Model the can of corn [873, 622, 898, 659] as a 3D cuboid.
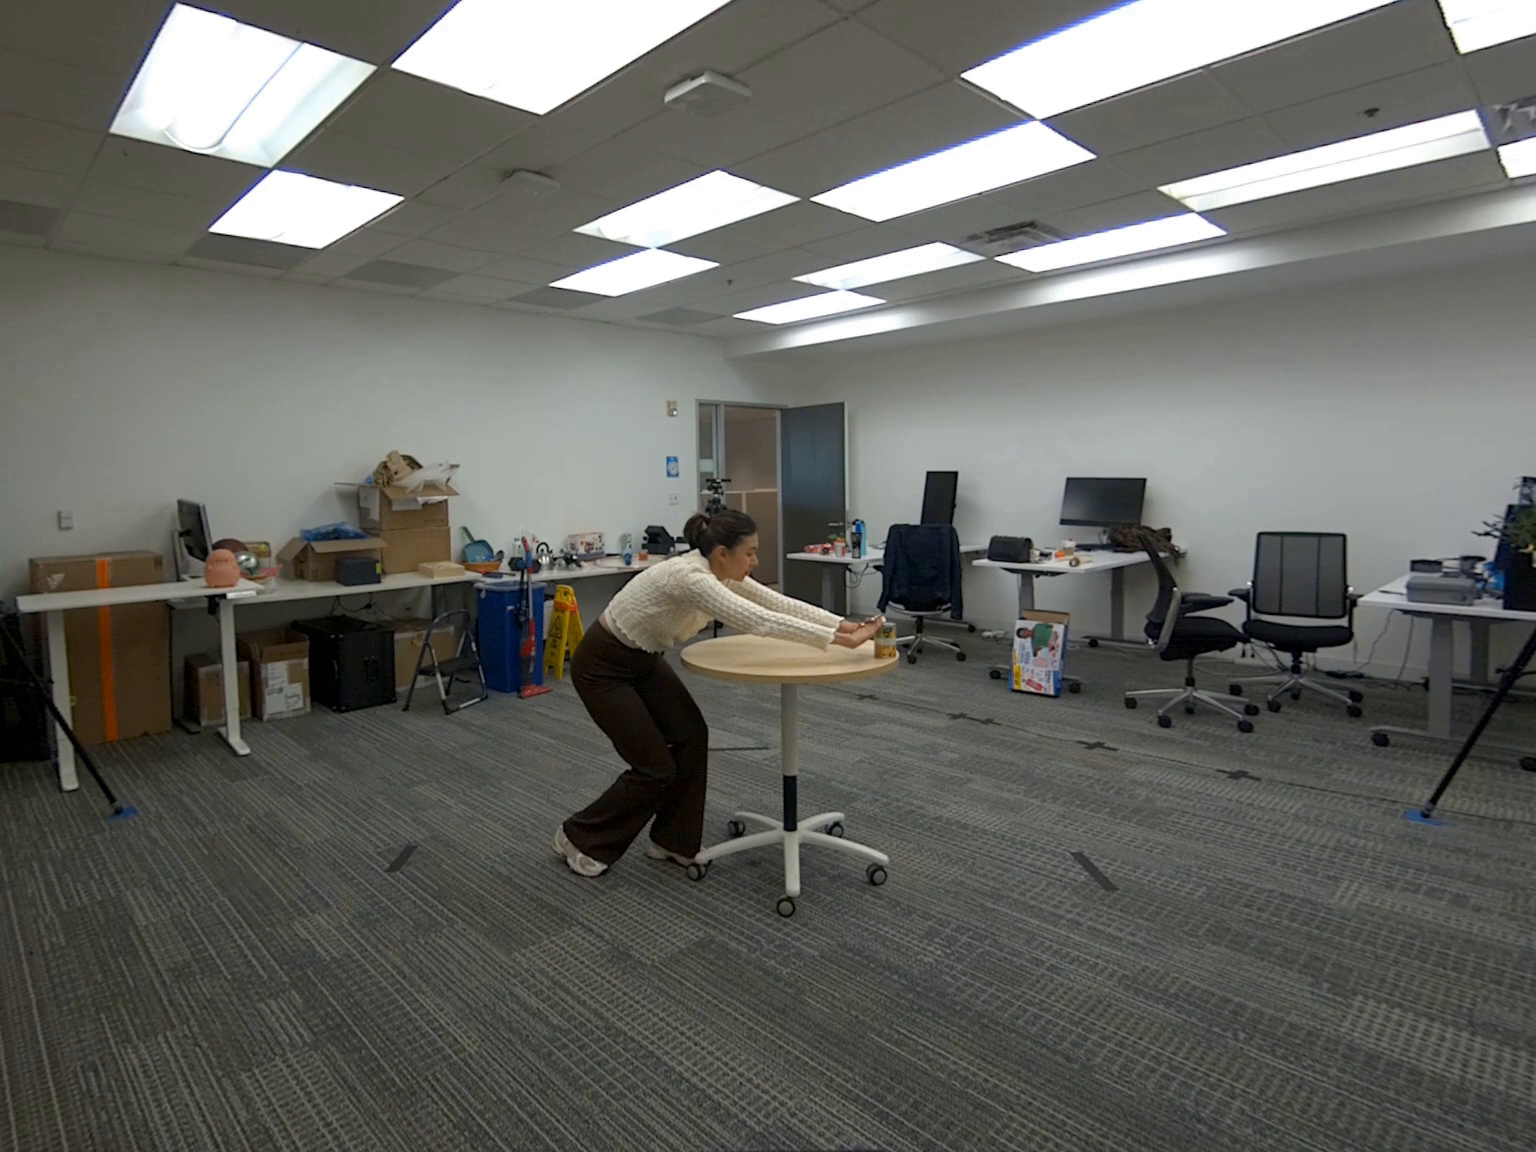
[{"bbox_3d":[0.401,0.220,2.902,0.074,0.110,0.075,-2,8,-1],"label":"can of corn"}]
